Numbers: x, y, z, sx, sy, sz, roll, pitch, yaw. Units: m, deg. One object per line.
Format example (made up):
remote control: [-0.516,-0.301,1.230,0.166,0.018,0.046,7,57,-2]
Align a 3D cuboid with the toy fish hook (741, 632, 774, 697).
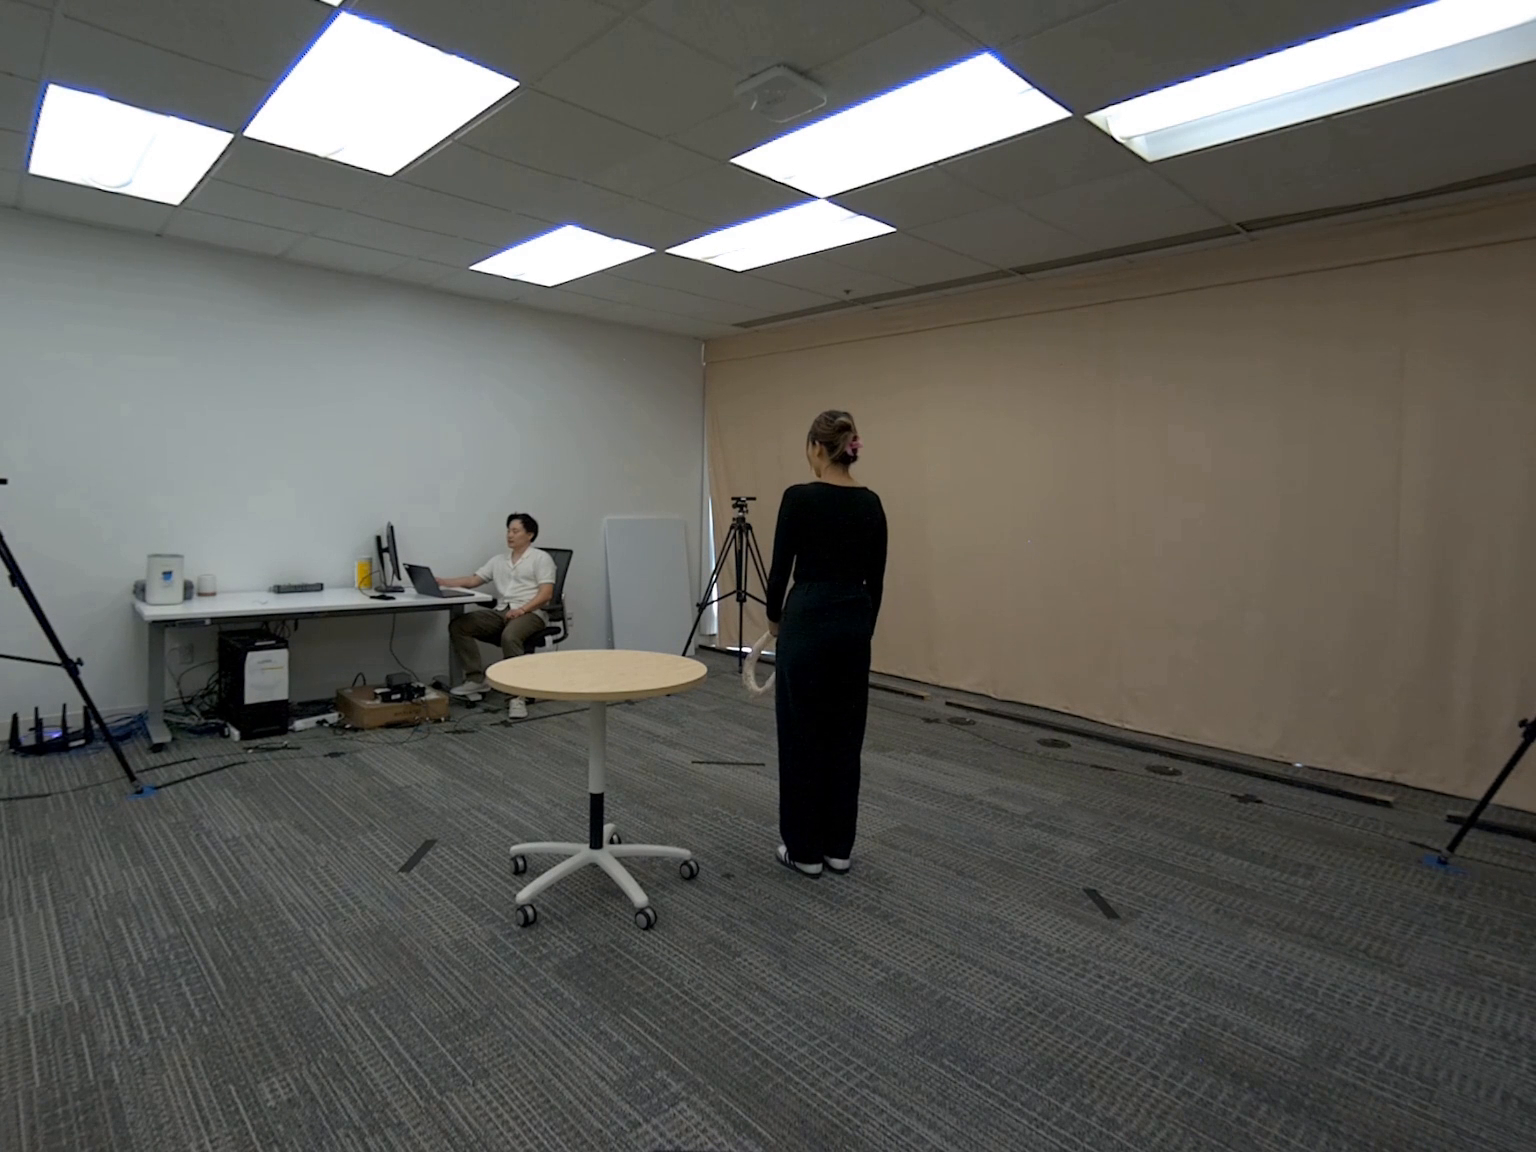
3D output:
toy fish hook: [0.018,0.286,3.406,0.047,0.502,0.232,6,34,-34]
